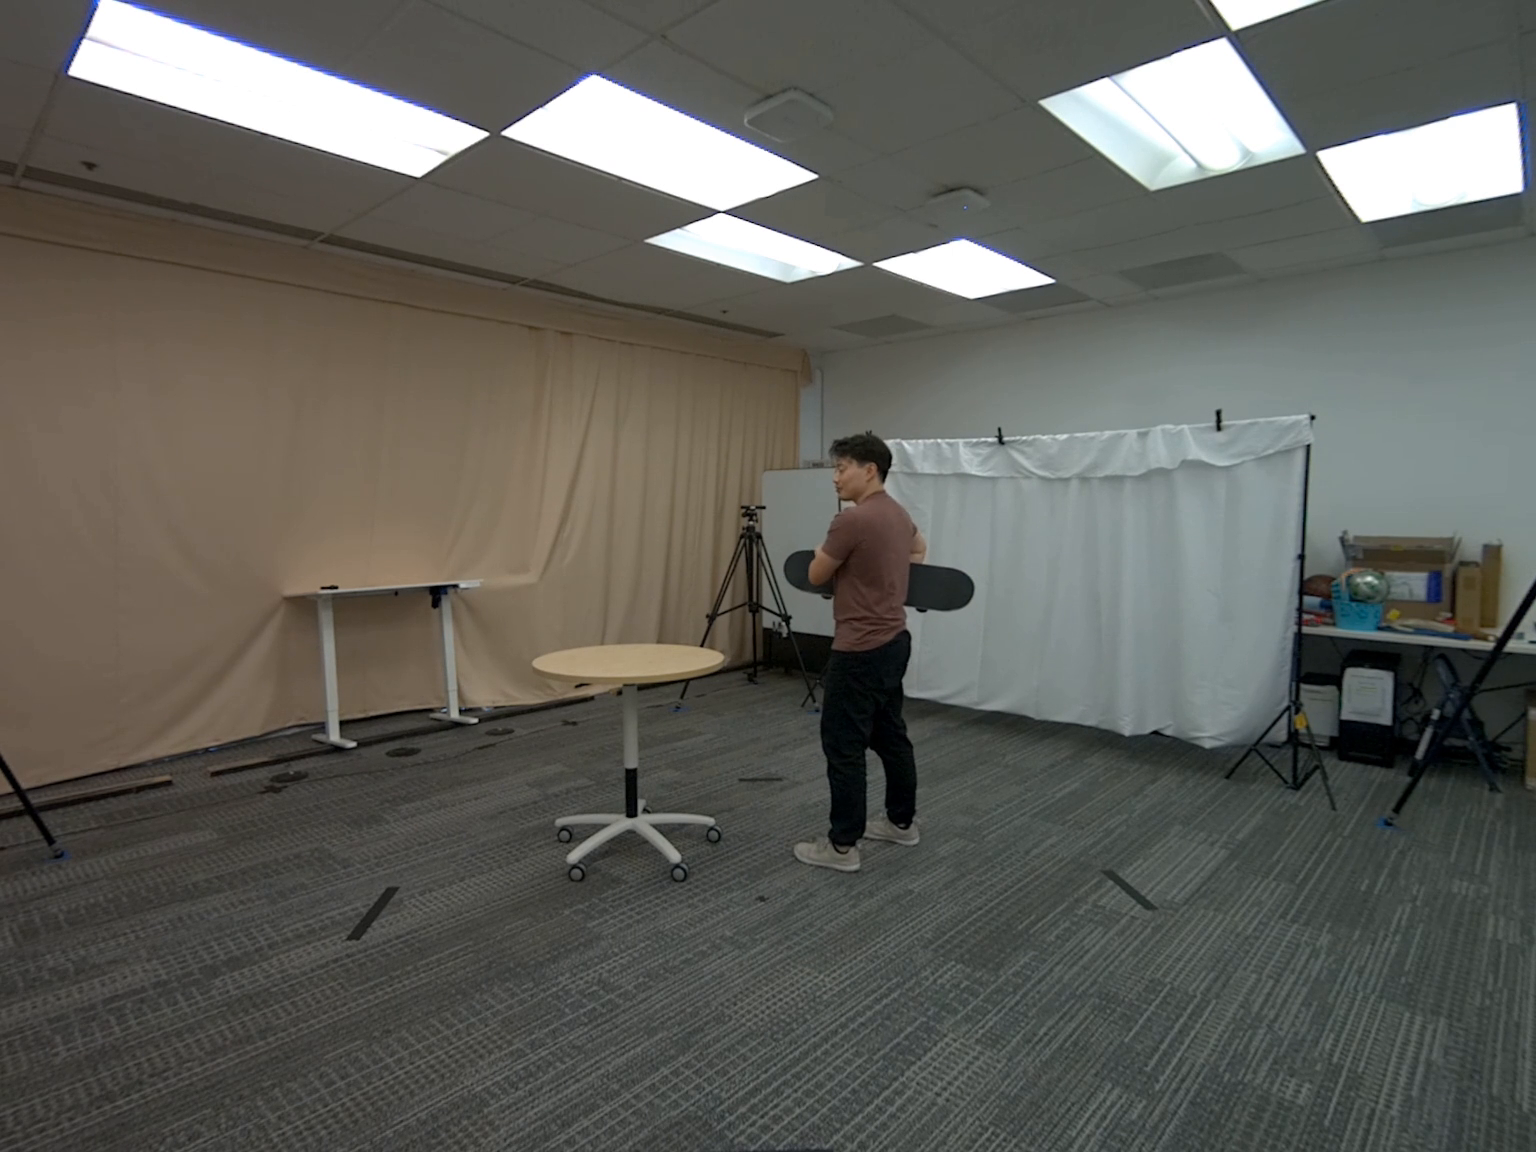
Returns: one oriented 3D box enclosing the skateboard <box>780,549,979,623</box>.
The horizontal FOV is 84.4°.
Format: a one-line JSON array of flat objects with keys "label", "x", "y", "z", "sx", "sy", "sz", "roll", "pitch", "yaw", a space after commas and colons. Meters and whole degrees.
[{"label": "skateboard", "x": 0.459, "y": 0.037, "z": 3.542, "sx": 0.796, "sy": 0.195, "sz": 0.108, "roll": 6, "pitch": -19, "yaw": 11}]
